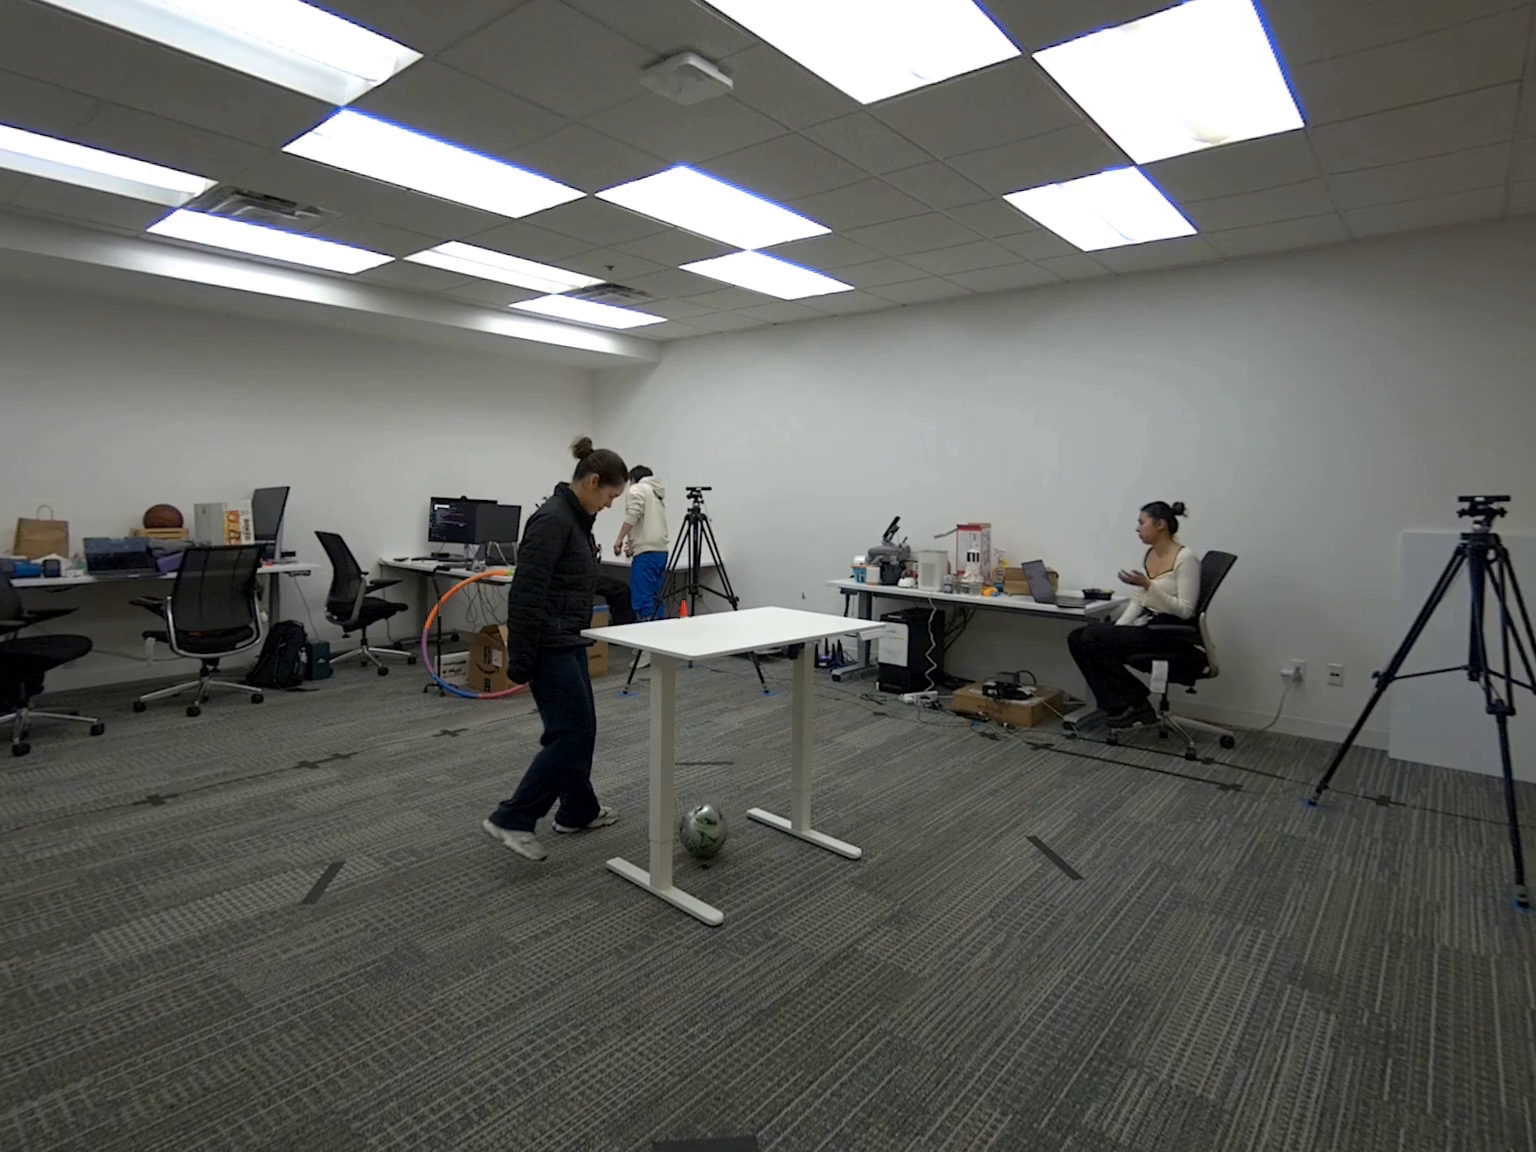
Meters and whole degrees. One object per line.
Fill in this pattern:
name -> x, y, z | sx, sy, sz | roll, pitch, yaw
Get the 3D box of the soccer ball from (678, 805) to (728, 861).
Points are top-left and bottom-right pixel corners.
soccer ball -> -0.259, 0.965, 3.219 | 0.187, 0.187, 0.188 | 1, 4, -2
